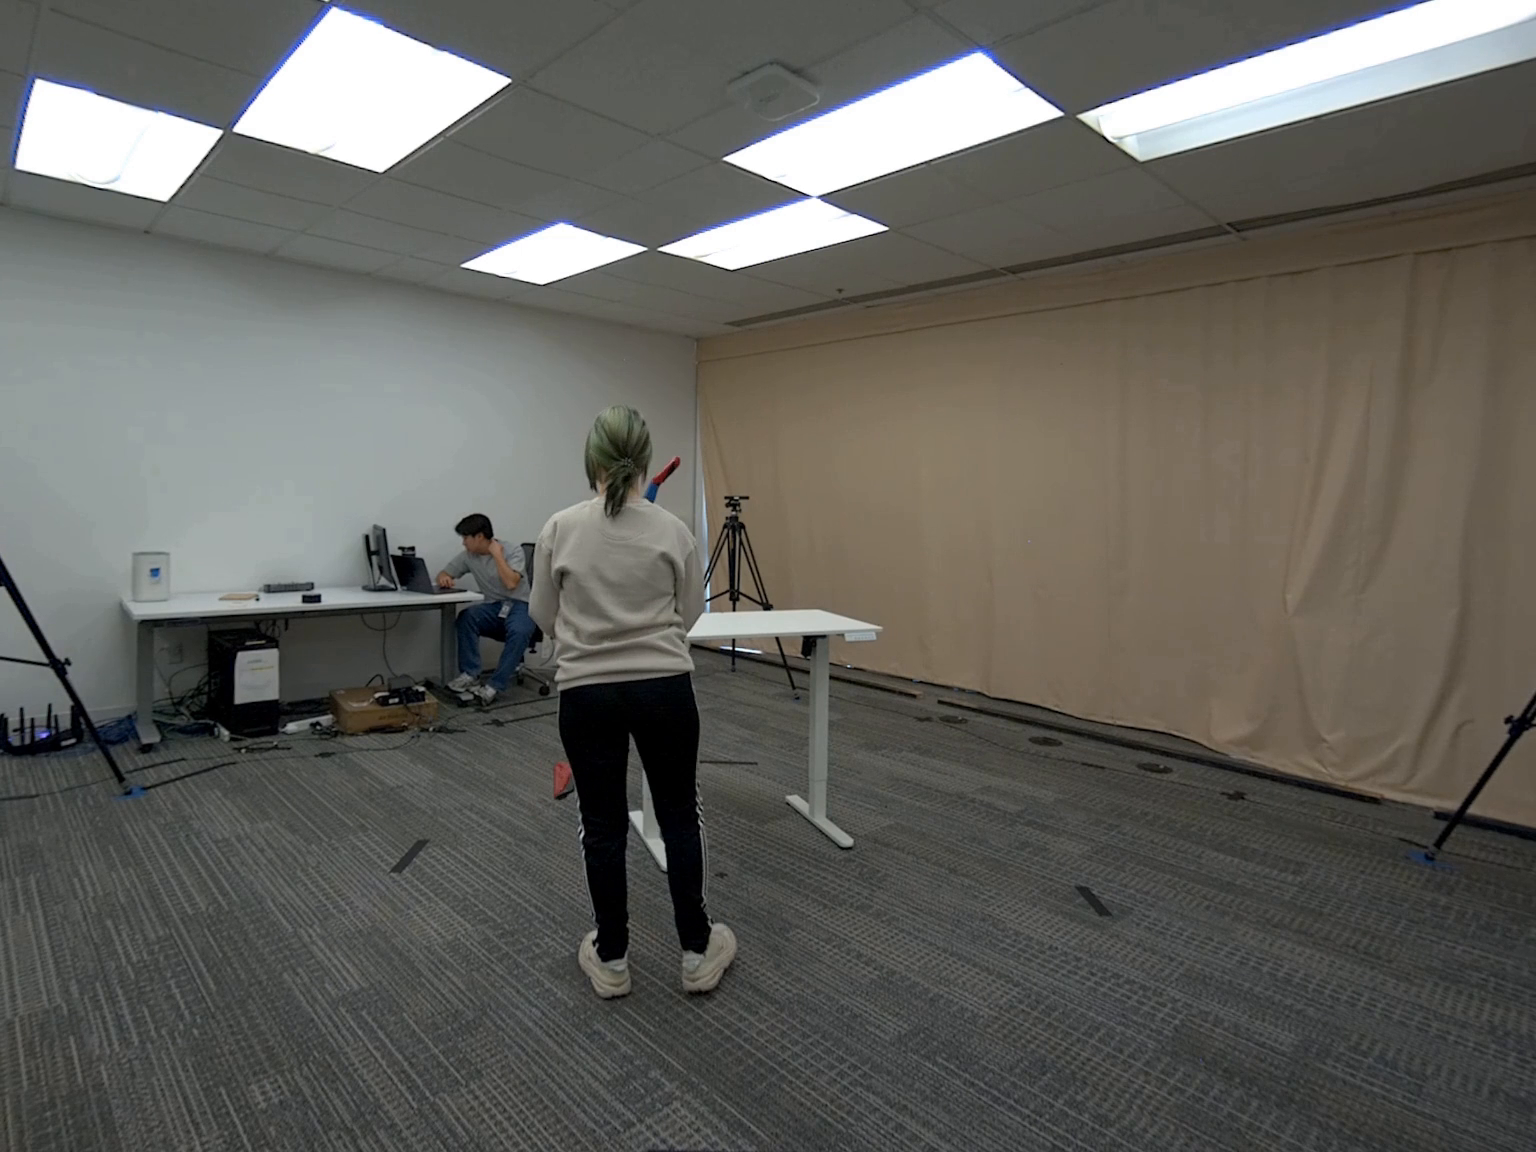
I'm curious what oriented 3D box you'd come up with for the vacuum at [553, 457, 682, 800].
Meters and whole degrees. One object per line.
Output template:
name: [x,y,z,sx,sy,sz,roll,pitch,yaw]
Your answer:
vacuum: [-0.457,0.143,2.631,0.141,1.048,0.258,16,2,-26]
